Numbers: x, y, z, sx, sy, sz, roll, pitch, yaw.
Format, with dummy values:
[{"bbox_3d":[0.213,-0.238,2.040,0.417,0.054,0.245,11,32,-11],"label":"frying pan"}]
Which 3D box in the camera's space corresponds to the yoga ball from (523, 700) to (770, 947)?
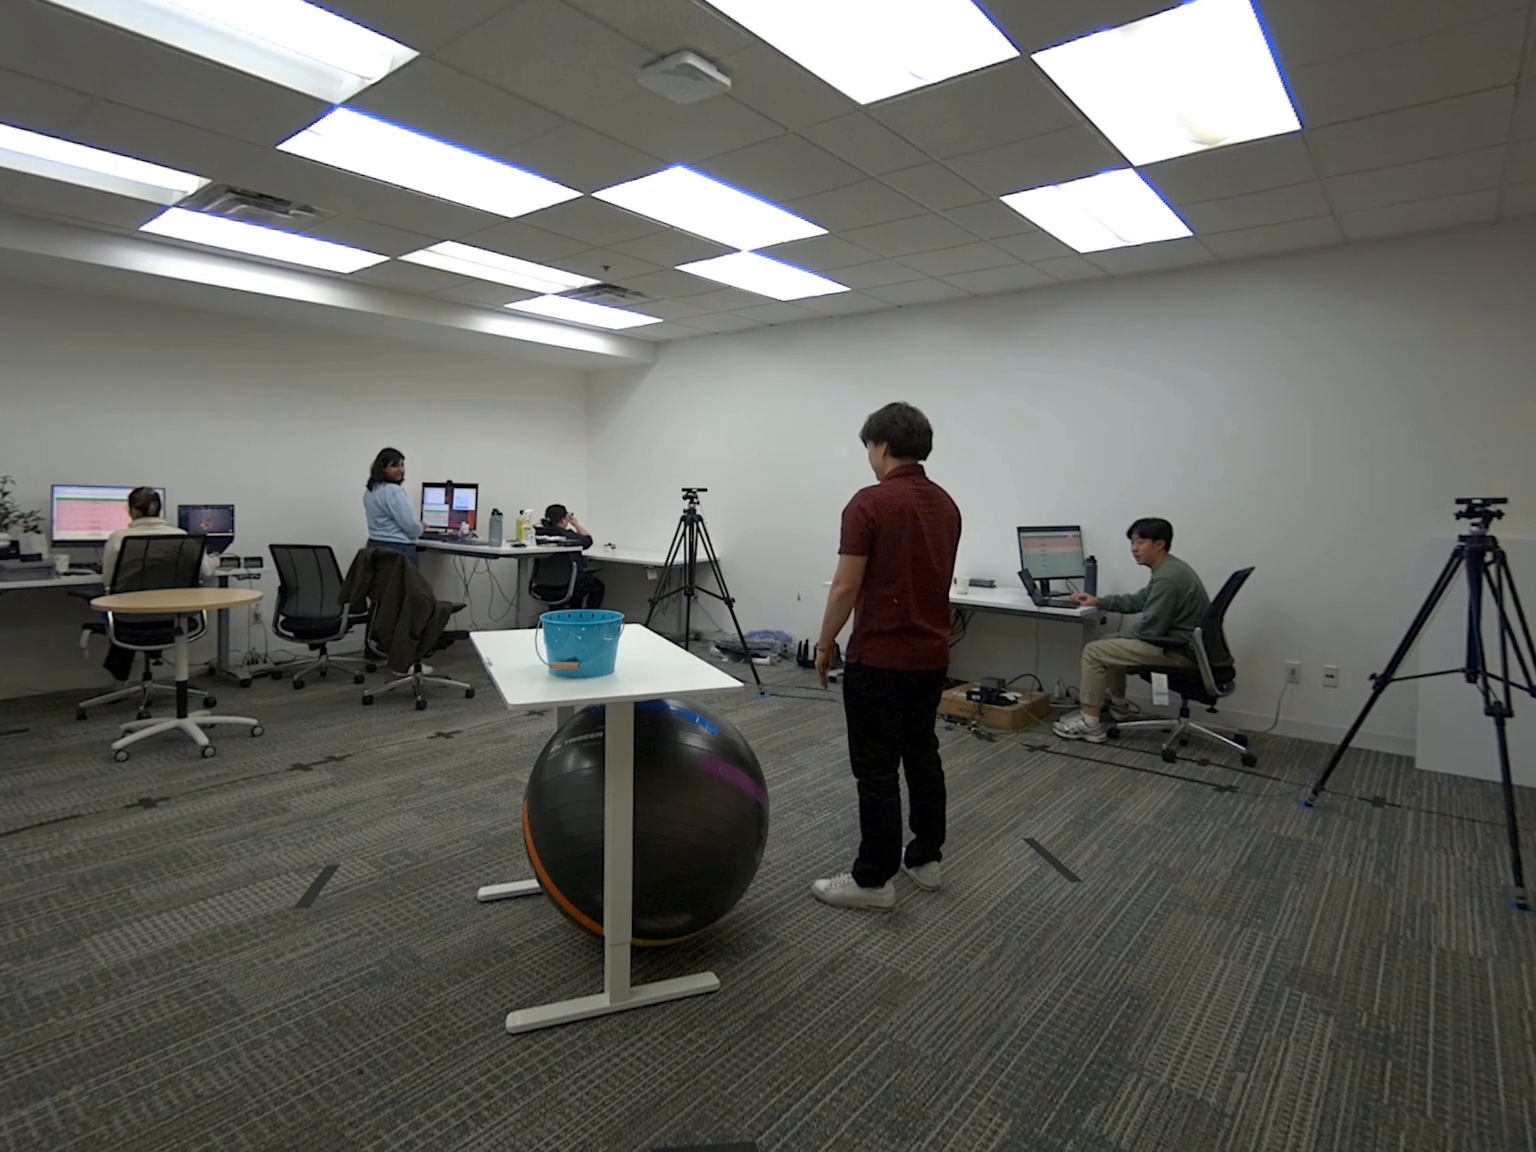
[{"bbox_3d":[-0.385,0.737,2.655,0.757,0.756,0.762,1,4,-2],"label":"yoga ball"}]
